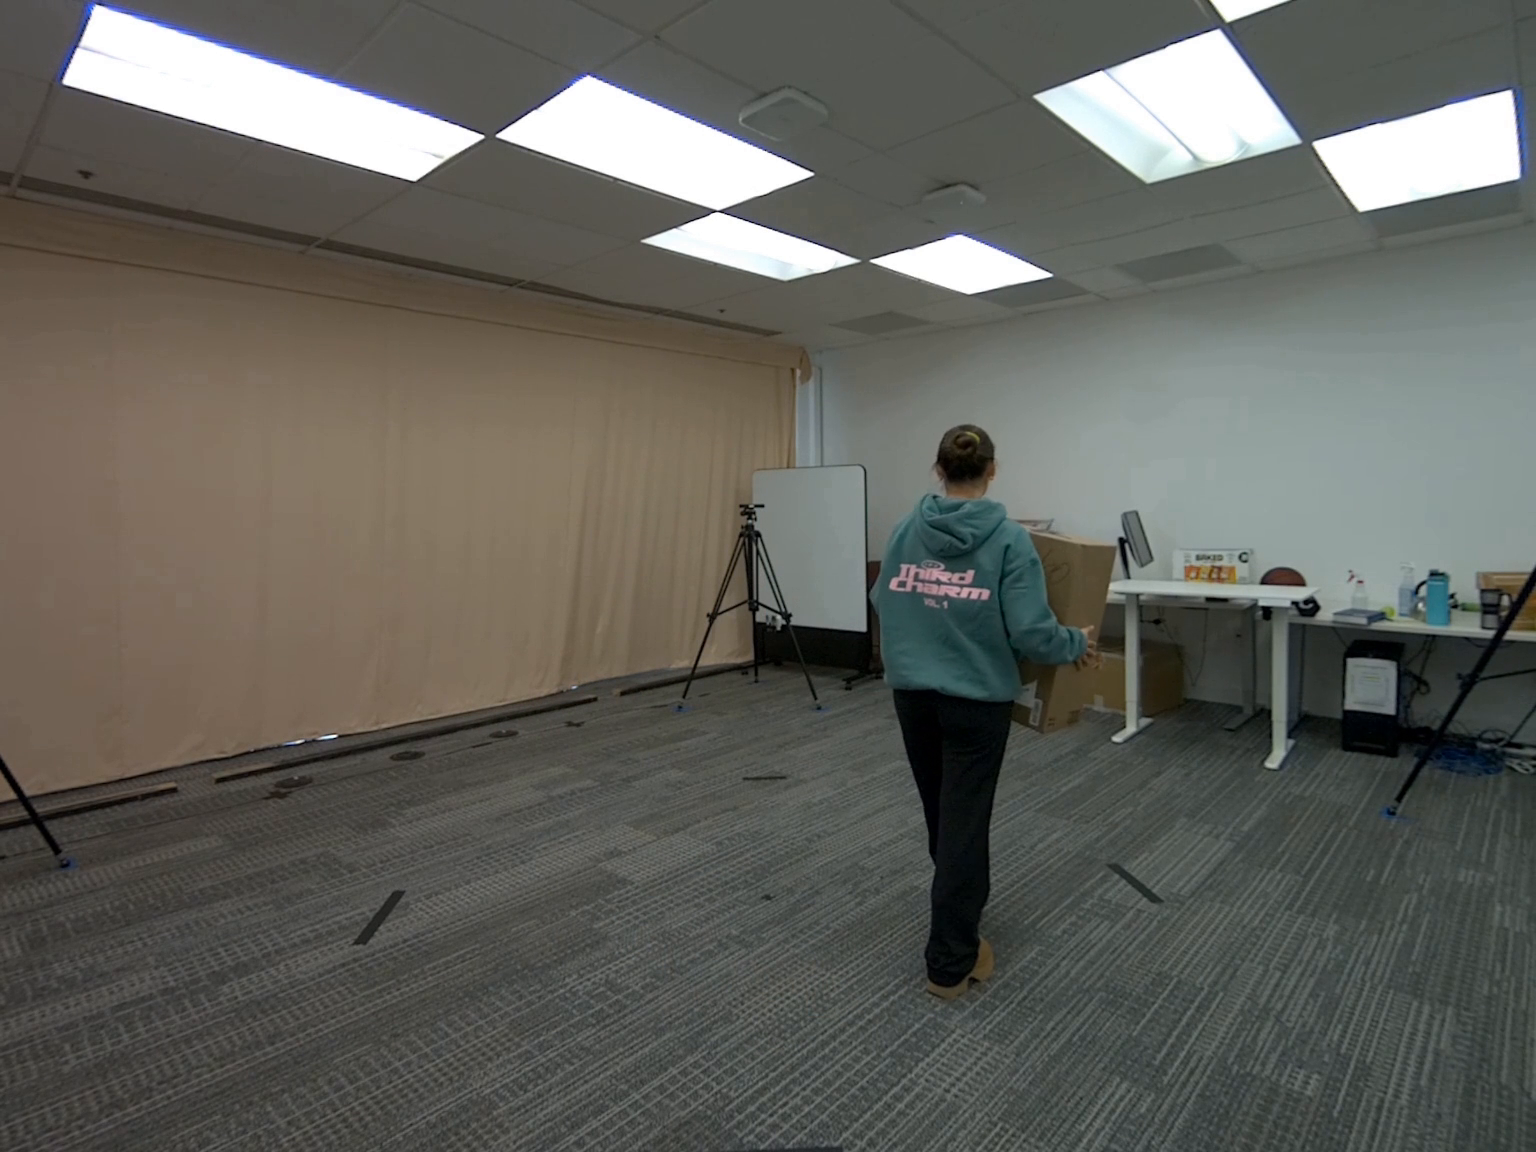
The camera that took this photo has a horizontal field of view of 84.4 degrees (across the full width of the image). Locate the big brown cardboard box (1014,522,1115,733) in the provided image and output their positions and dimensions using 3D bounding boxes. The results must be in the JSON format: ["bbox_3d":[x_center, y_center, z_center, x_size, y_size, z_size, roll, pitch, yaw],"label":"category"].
[{"bbox_3d":[0.795,0.135,2.633,0.226,0.587,0.433,2,10,-41],"label":"big brown cardboard box"}]
